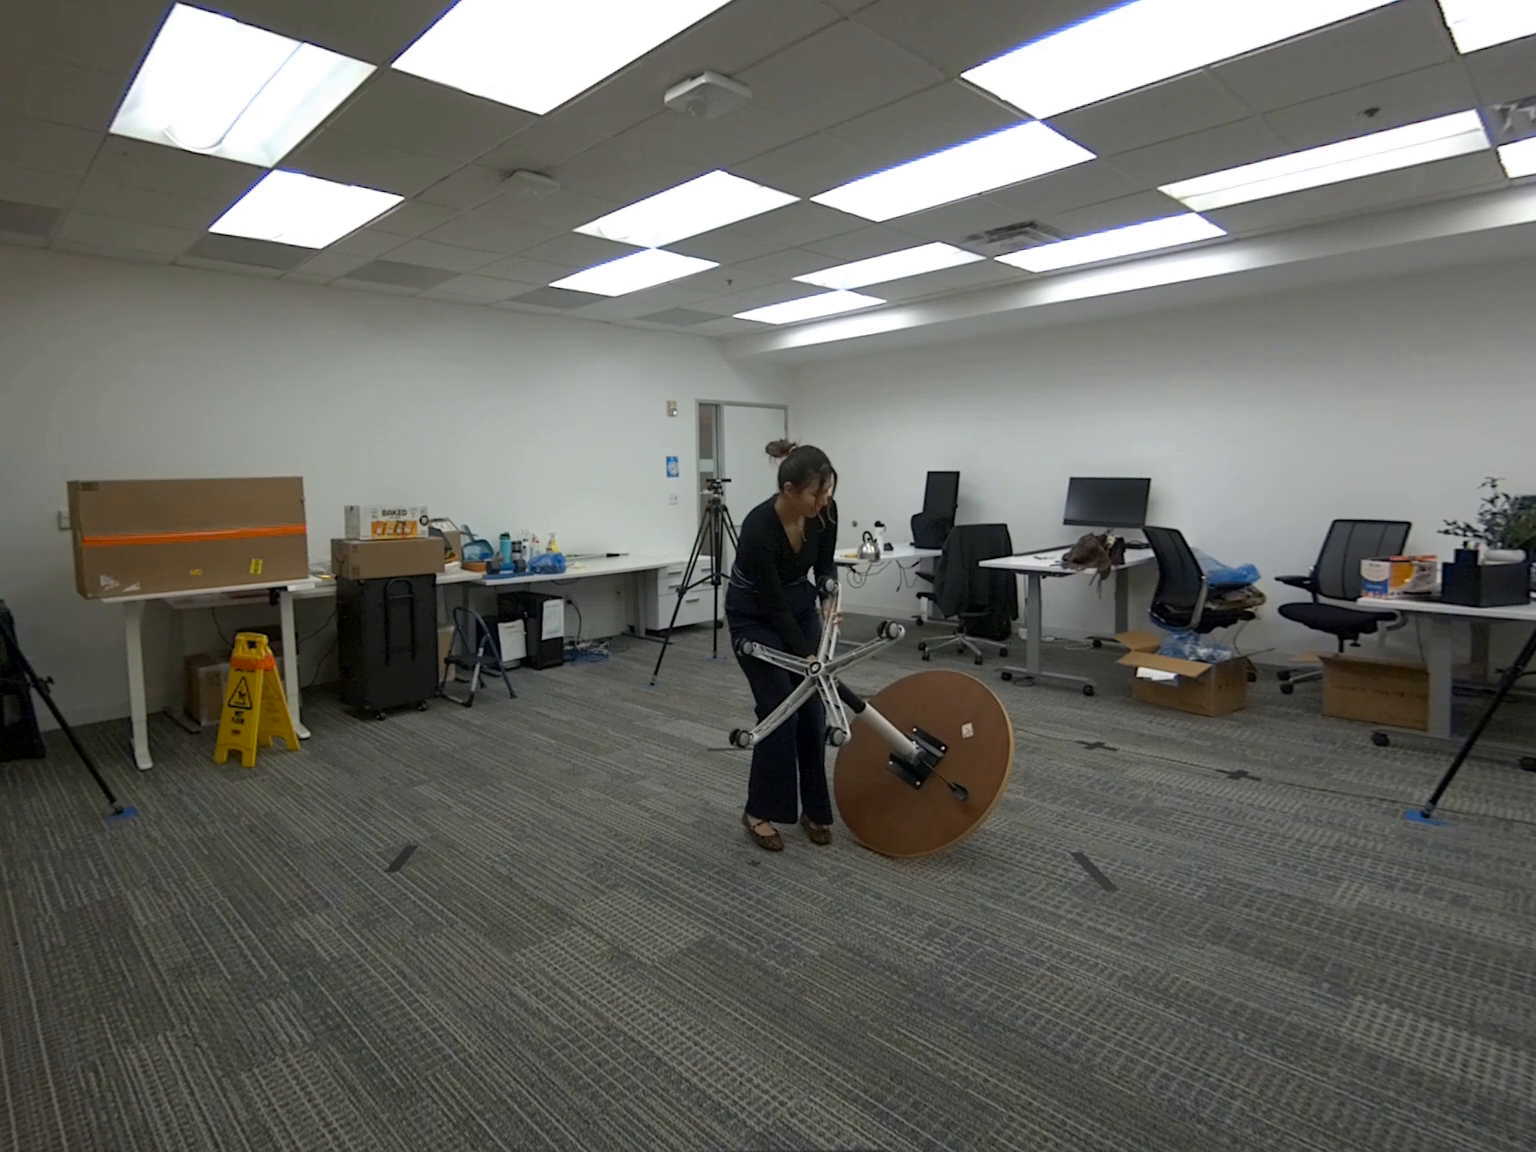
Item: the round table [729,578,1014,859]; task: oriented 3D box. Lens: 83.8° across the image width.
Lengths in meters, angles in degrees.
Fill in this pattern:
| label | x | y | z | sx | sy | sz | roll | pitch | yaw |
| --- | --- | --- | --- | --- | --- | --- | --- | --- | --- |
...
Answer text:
| label | x | y | z | sx | sy | sz | roll | pitch | yaw |
| --- | --- | --- | --- | --- | --- | --- | --- | --- | --- |
| round table | 0.347 | 0.487 | 3.106 | 0.787 | 0.768 | 0.766 | 5 | -31 | 50 |
